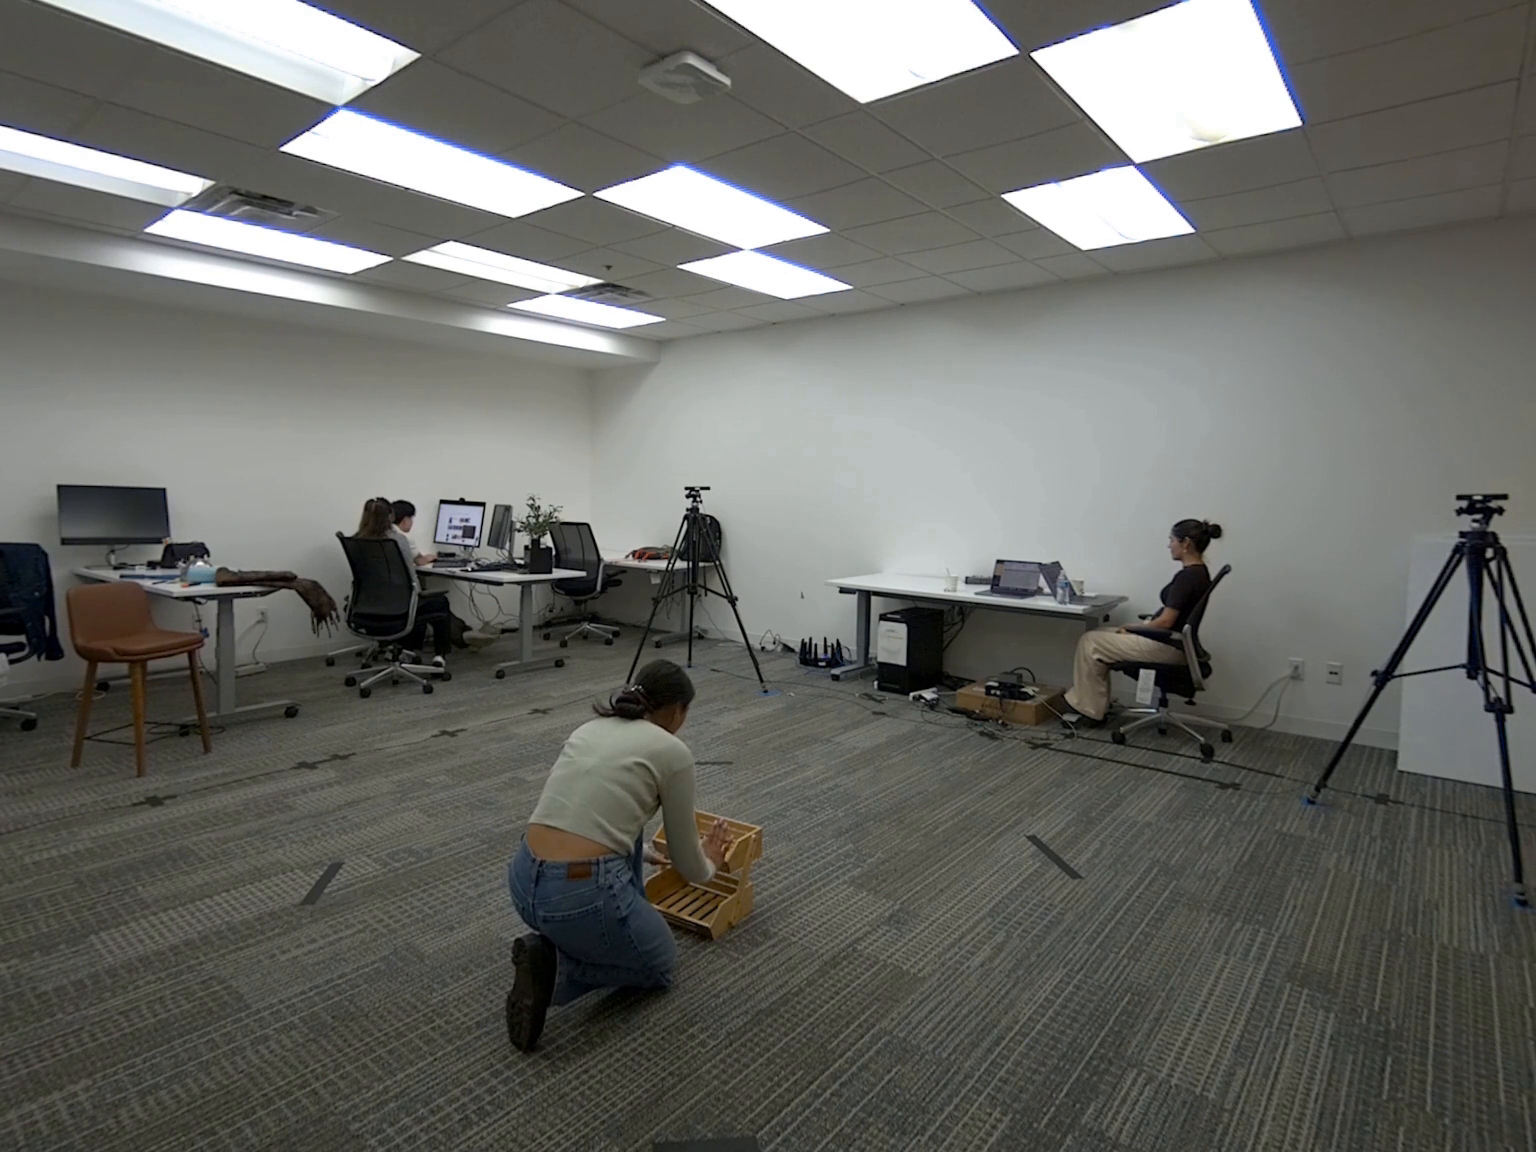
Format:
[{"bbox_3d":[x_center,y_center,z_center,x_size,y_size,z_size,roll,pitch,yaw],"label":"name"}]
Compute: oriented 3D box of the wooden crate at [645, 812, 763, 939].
[{"bbox_3d":[-0.235,0.962,2.791,0.334,0.273,0.294,3,4,32],"label":"wooden crate"}]
